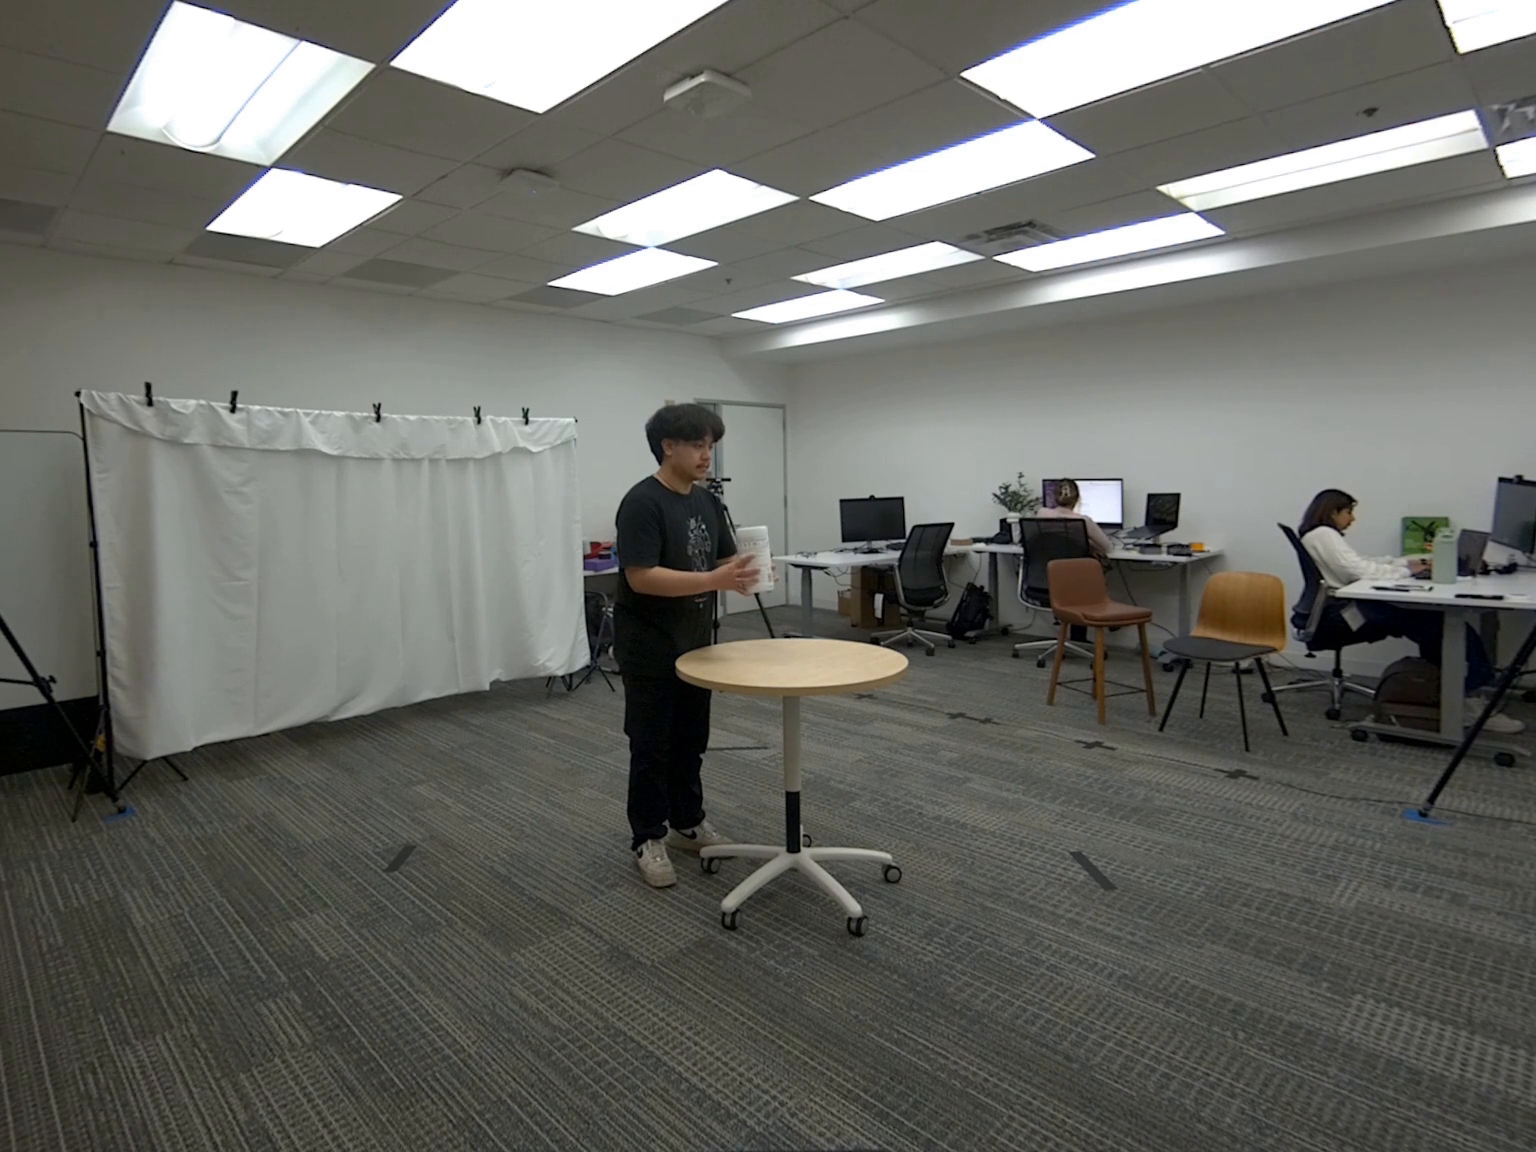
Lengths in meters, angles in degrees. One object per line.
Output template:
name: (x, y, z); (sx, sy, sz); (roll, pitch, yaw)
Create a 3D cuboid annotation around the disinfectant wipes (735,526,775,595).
disinfectant wipes: (-0.050, -0.049, 2.847); (0.118, 0.218, 0.118); (-5, -1, -2)
